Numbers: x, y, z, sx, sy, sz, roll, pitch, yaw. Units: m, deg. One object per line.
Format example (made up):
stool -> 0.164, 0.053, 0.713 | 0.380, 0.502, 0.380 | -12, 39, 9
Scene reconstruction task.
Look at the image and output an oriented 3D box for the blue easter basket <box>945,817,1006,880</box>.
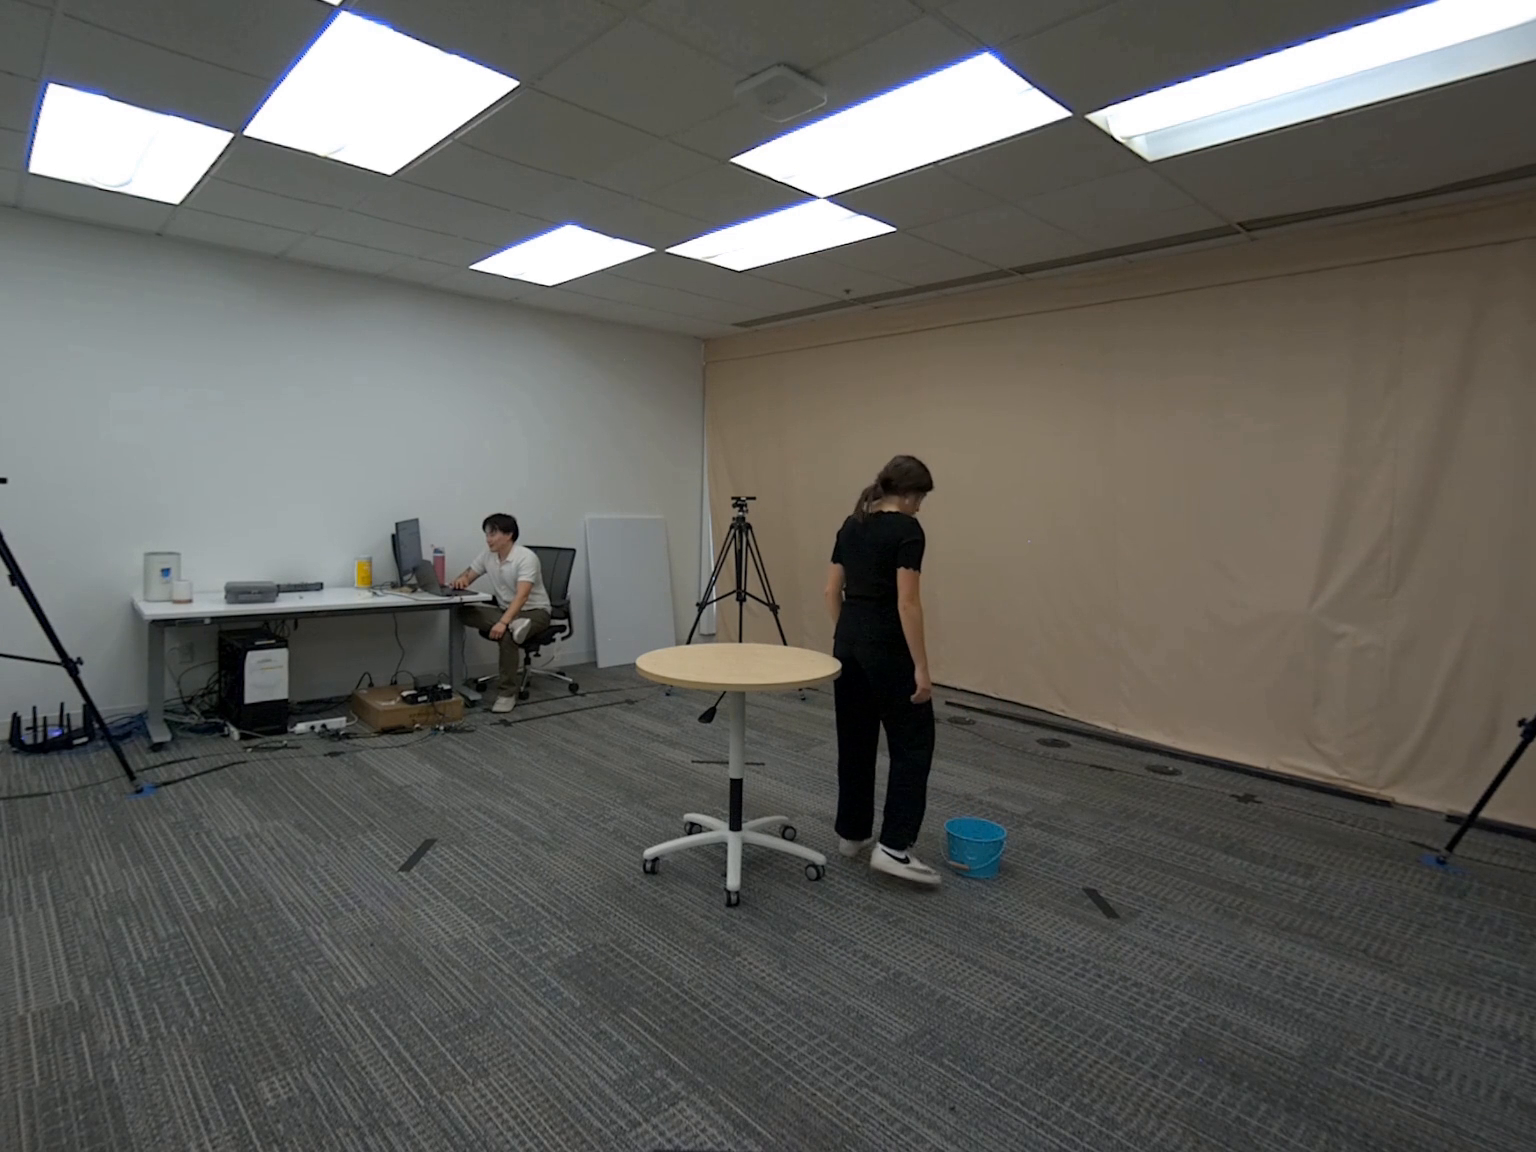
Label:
blue easter basket -> 0.772, 1.036, 3.235 | 0.243, 0.155, 0.244 | 2, 3, -1
